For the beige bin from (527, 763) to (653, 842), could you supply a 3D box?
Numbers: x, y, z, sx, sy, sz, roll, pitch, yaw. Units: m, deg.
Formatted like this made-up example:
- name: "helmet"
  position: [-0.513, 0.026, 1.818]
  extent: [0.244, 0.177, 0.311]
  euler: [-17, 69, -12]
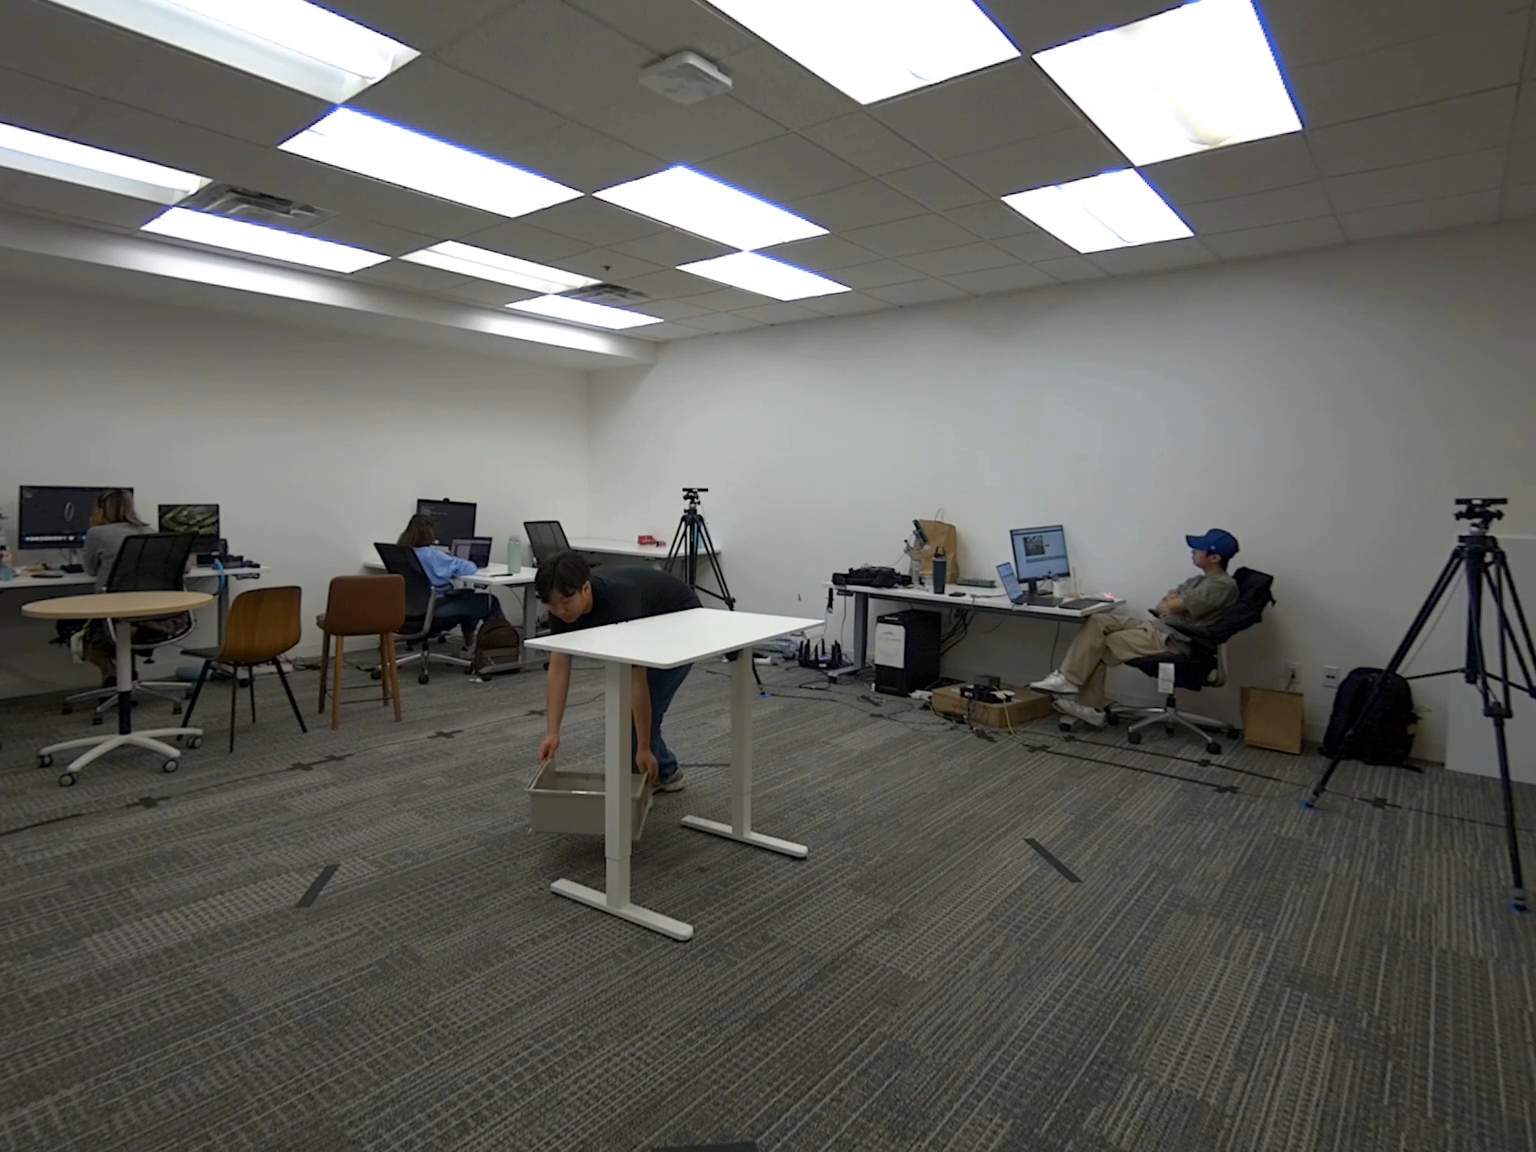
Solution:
- name: "beige bin"
  position: [-0.687, 0.827, 3.262]
  extent: [0.424, 0.187, 0.379]
  euler: [1, 11, 3]
